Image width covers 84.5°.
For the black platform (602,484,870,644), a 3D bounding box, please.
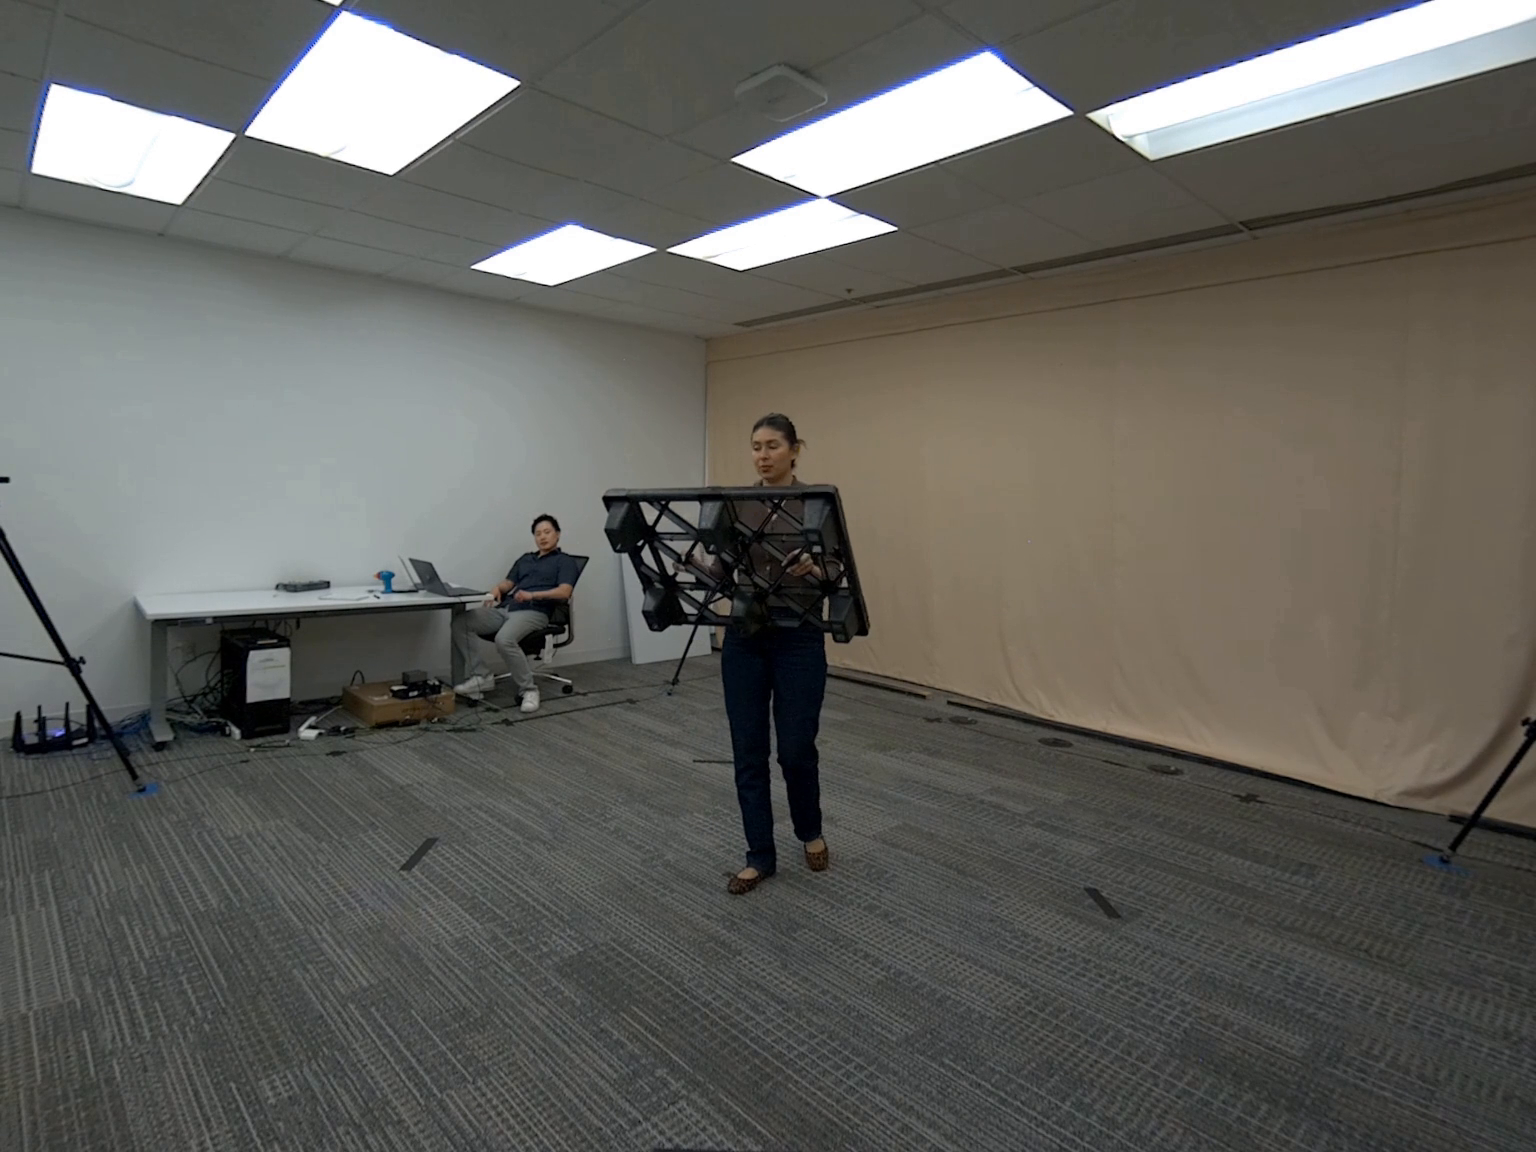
[{"bbox_3d":[-0.121,-0.018,2.734,0.820,0.588,0.145,2,43,24],"label":"black platform"}]
